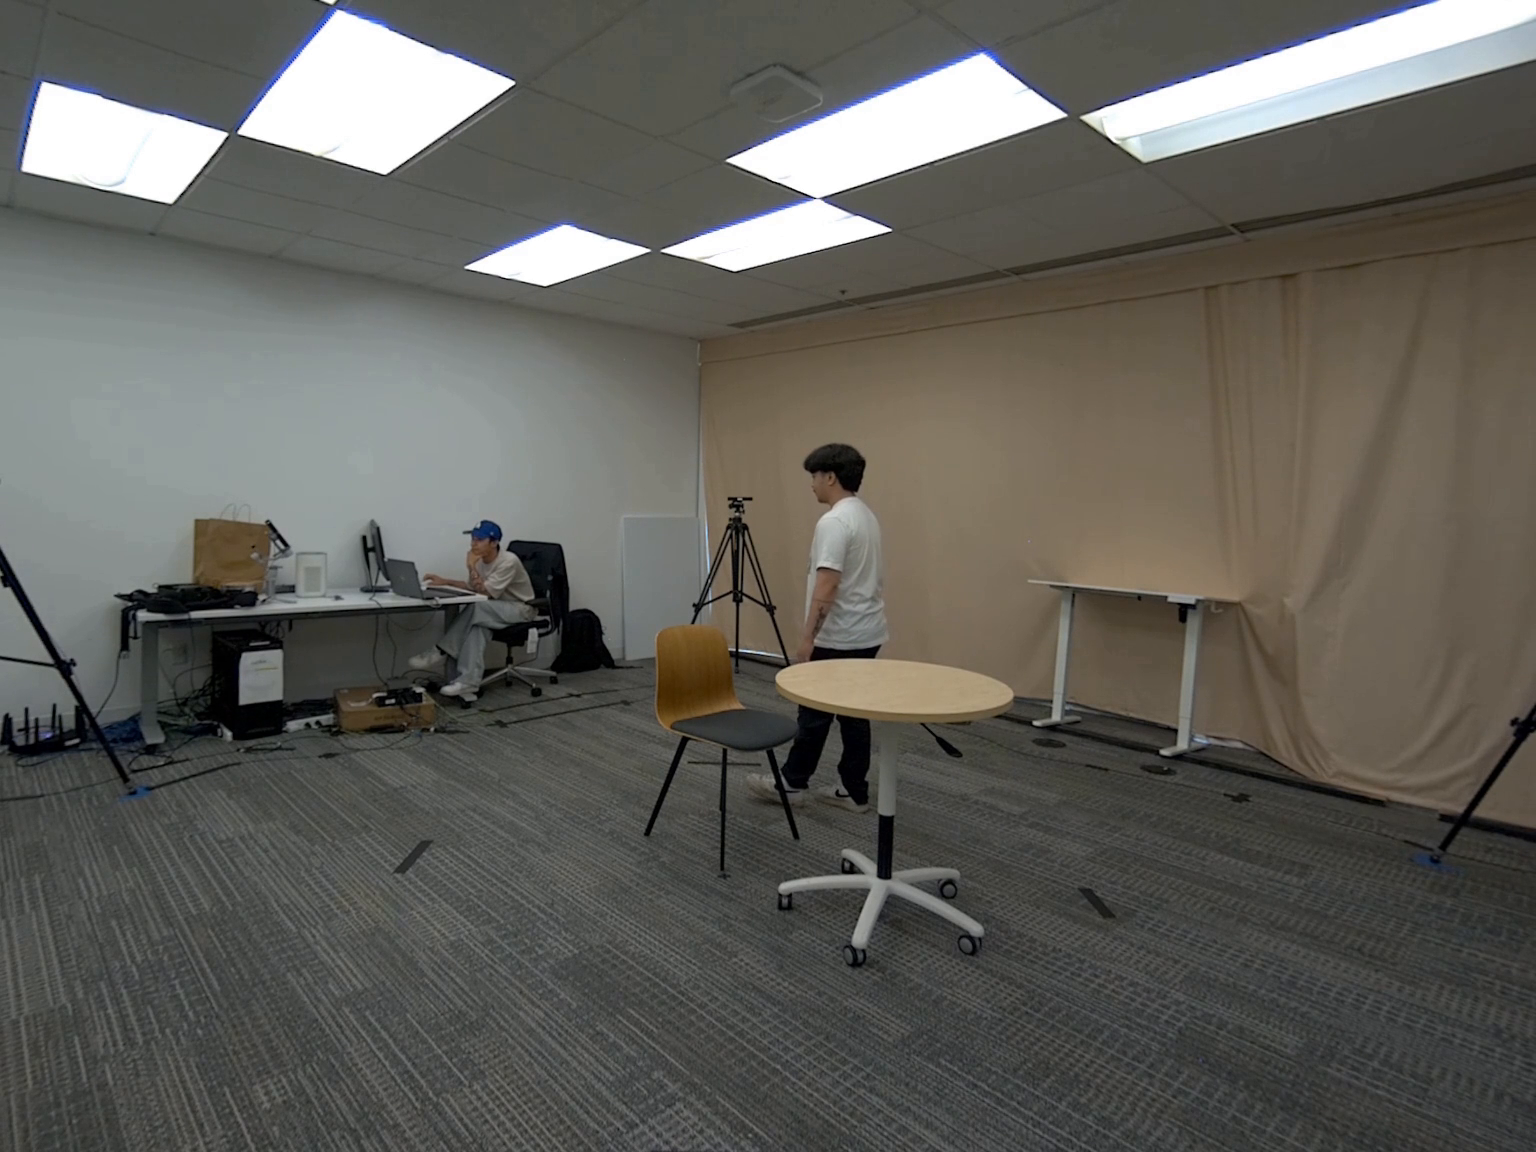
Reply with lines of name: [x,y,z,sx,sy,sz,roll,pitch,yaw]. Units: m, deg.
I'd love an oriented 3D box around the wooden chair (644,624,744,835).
wooden chair: [-0.180,0.651,3.425,0.535,0.878,0.467,-2,0,44]
